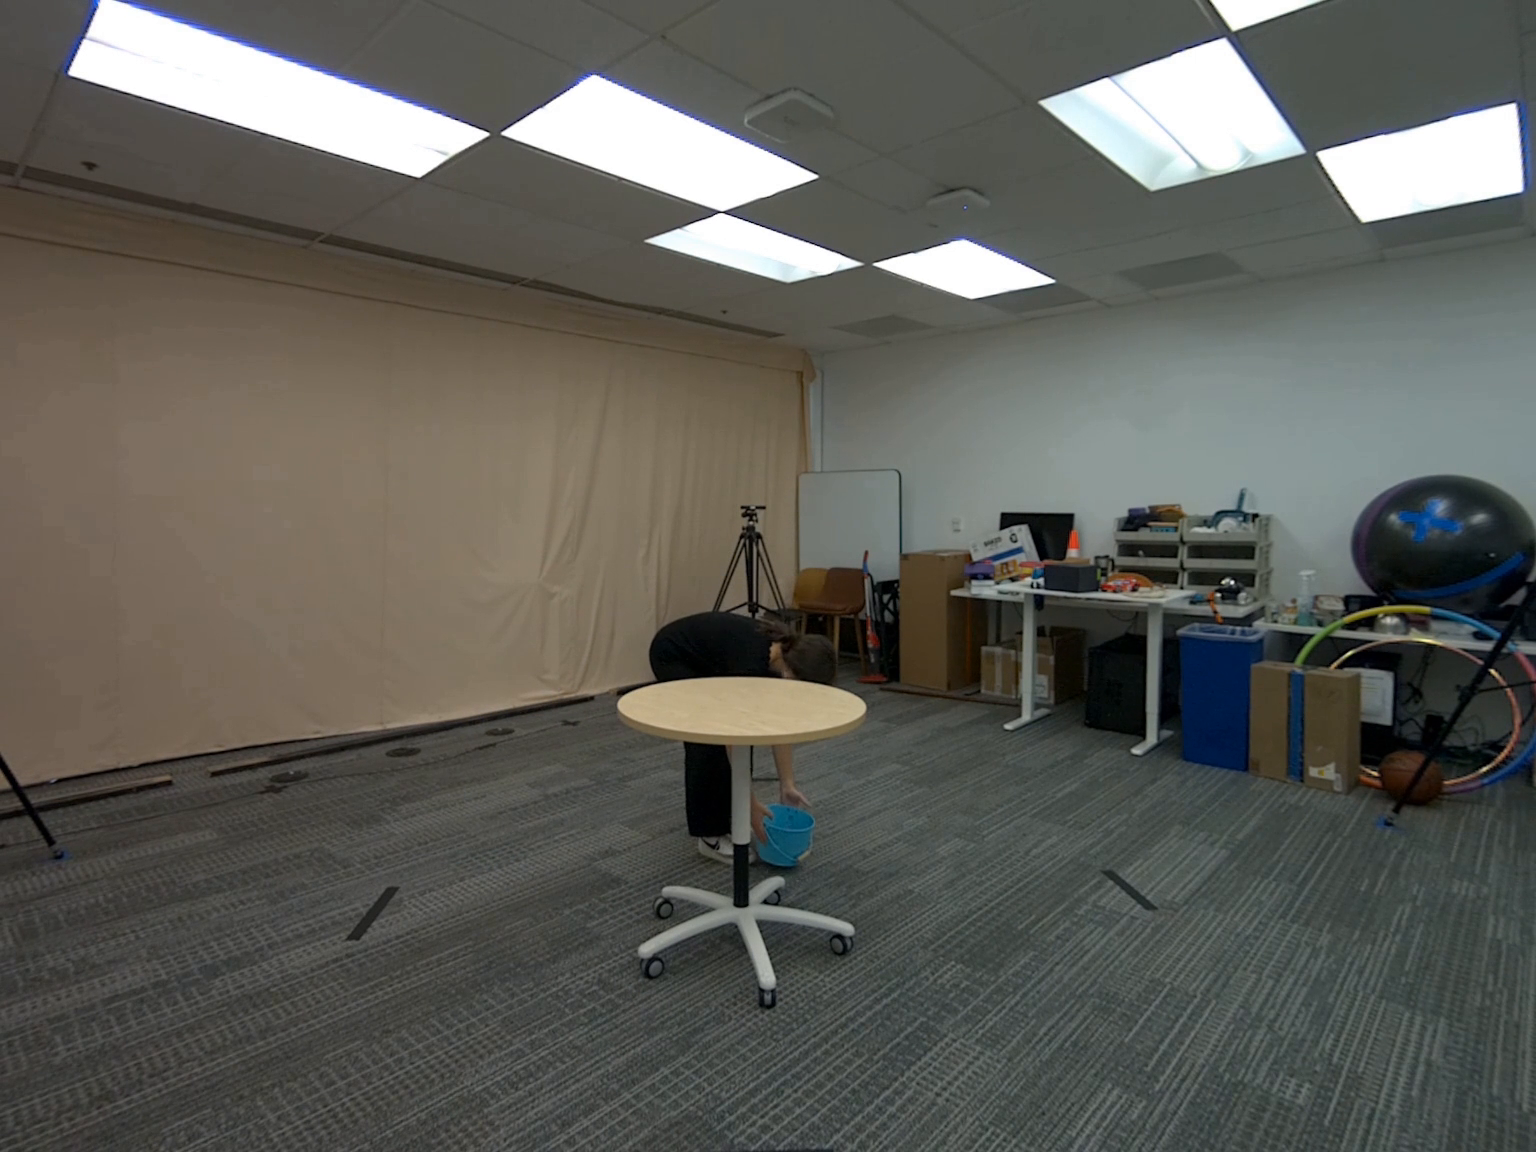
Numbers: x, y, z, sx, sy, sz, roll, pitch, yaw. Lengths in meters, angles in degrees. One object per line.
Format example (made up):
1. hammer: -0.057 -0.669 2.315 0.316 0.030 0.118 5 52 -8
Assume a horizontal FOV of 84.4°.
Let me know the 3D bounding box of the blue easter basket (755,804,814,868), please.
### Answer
1. blue easter basket: 0.061 1.004 3.240 0.243 0.155 0.245 7 7 -3
